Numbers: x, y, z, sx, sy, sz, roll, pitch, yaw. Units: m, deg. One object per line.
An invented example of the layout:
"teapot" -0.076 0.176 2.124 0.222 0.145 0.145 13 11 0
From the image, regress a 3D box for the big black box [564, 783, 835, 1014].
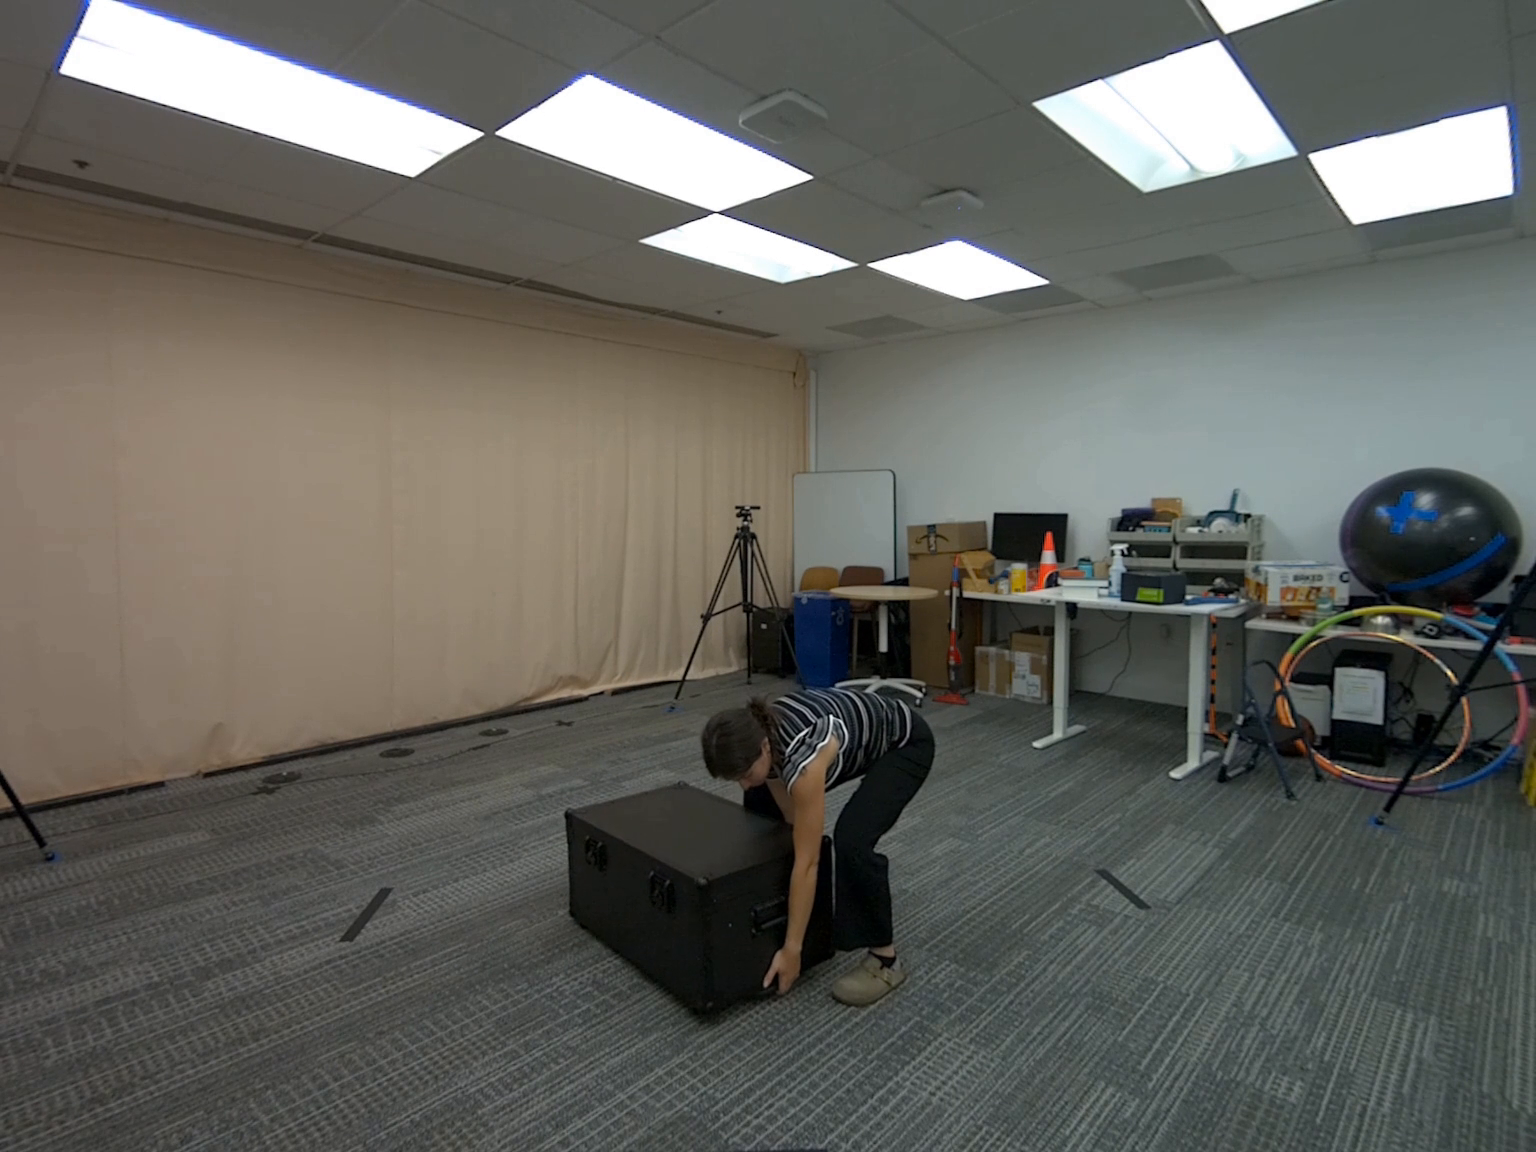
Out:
"big black box" -0.265 0.974 2.694 0.505 0.395 0.889 -3 4 -40
